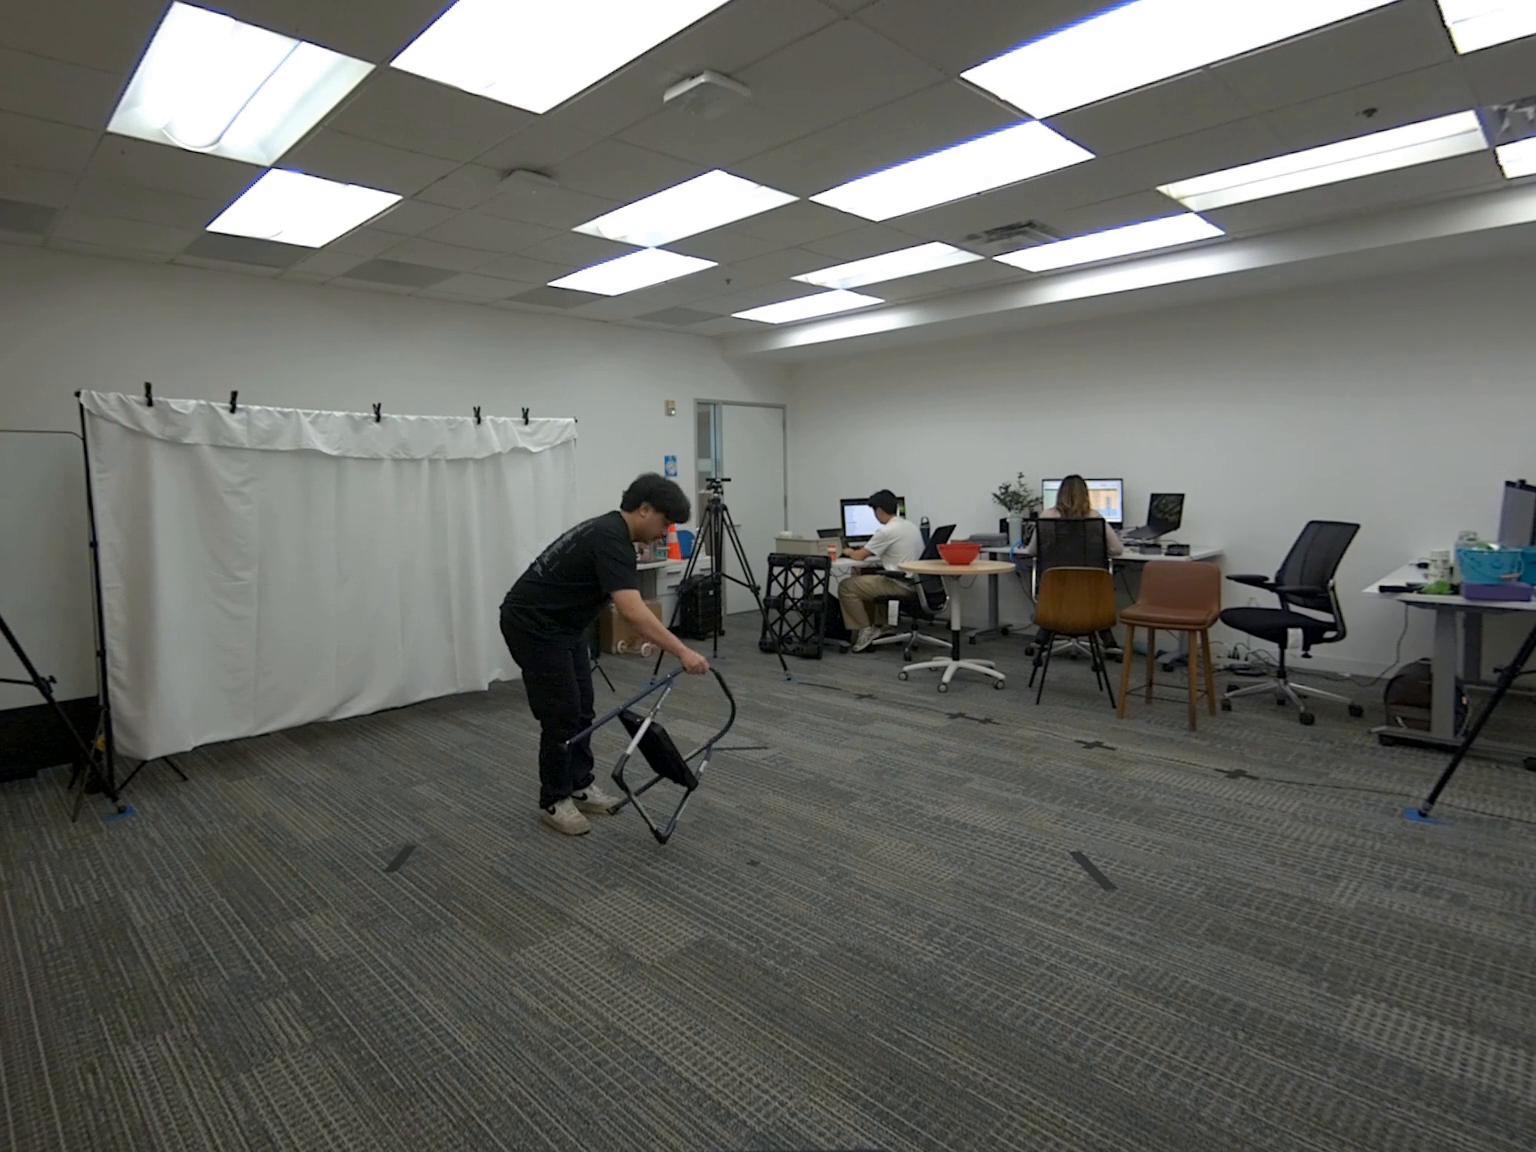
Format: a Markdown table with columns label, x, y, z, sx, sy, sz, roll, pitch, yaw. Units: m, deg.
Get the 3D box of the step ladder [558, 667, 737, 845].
| label | x | y | z | sx | sy | sz | roll | pitch | yaw |
| --- | --- | --- | --- | --- | --- | --- | --- | --- | --- |
| step ladder | -0.402 | 0.622 | 3.286 | 0.361 | 0.416 | 0.605 | 12 | 49 | 44 |
